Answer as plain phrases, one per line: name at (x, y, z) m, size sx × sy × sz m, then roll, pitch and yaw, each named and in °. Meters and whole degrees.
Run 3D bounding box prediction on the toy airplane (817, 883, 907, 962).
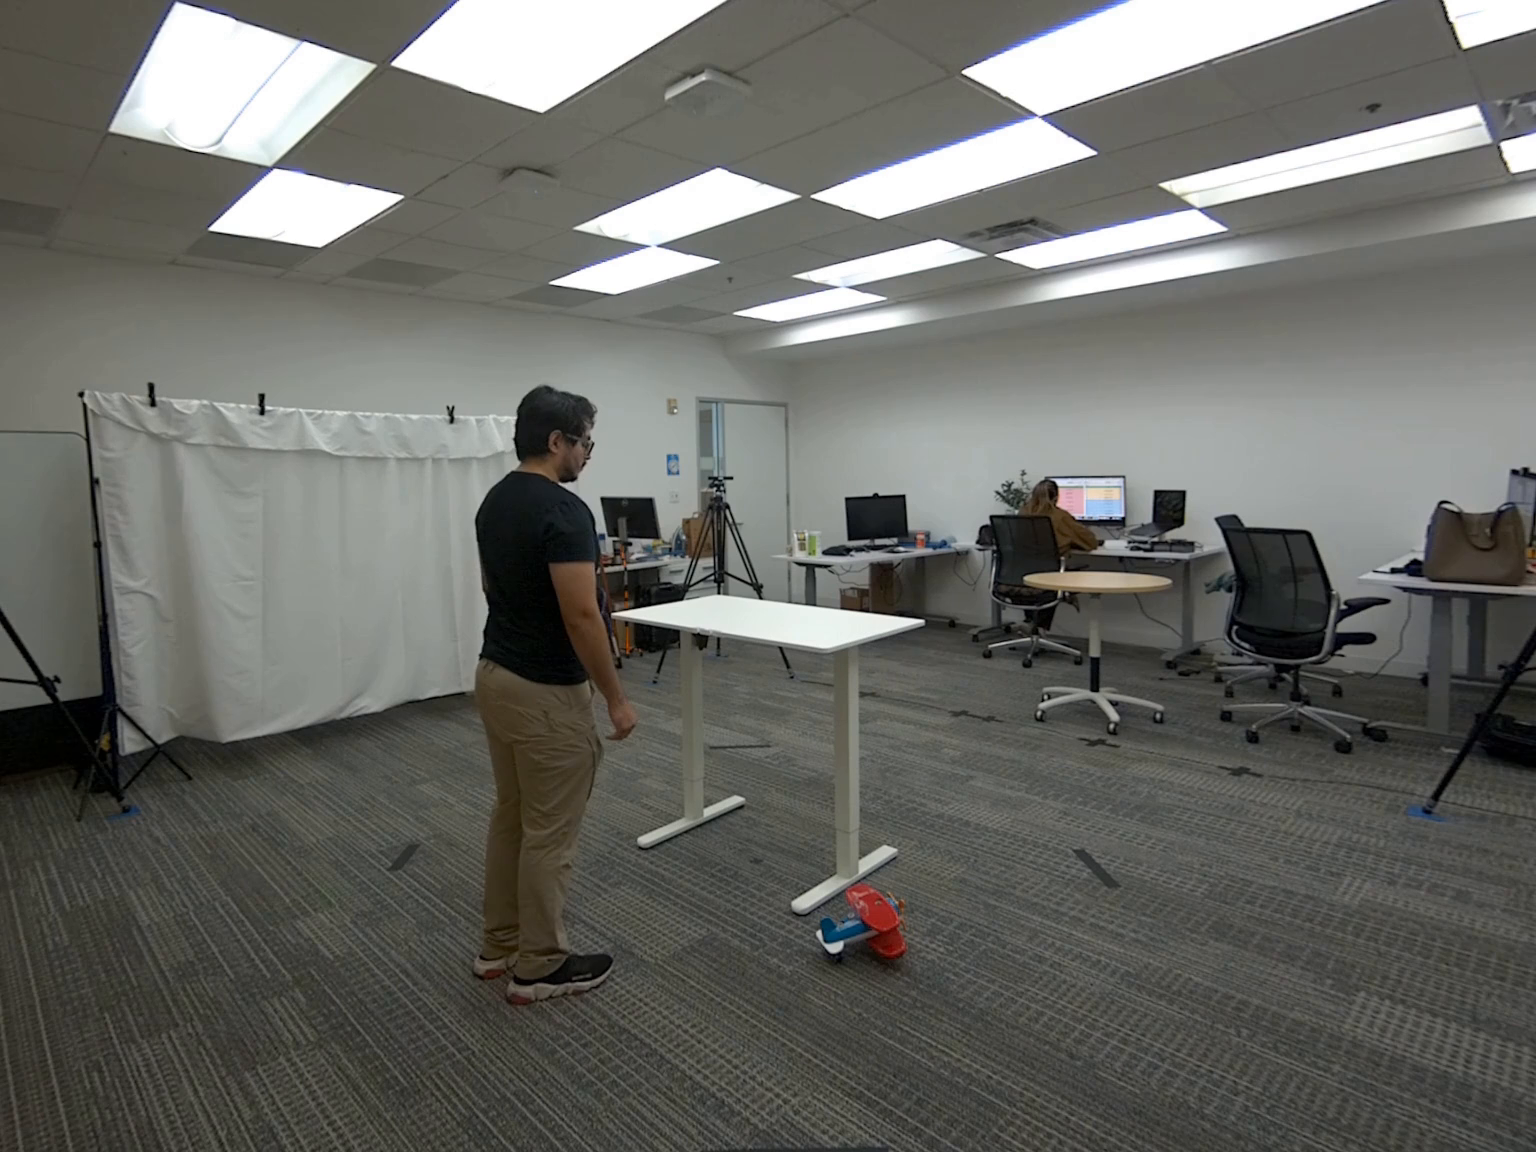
toy airplane at (0.279, 1.028, 2.473) m, size 0.252 × 0.156 × 0.259 m, roll -5°, pitch 8°, yaw -44°
